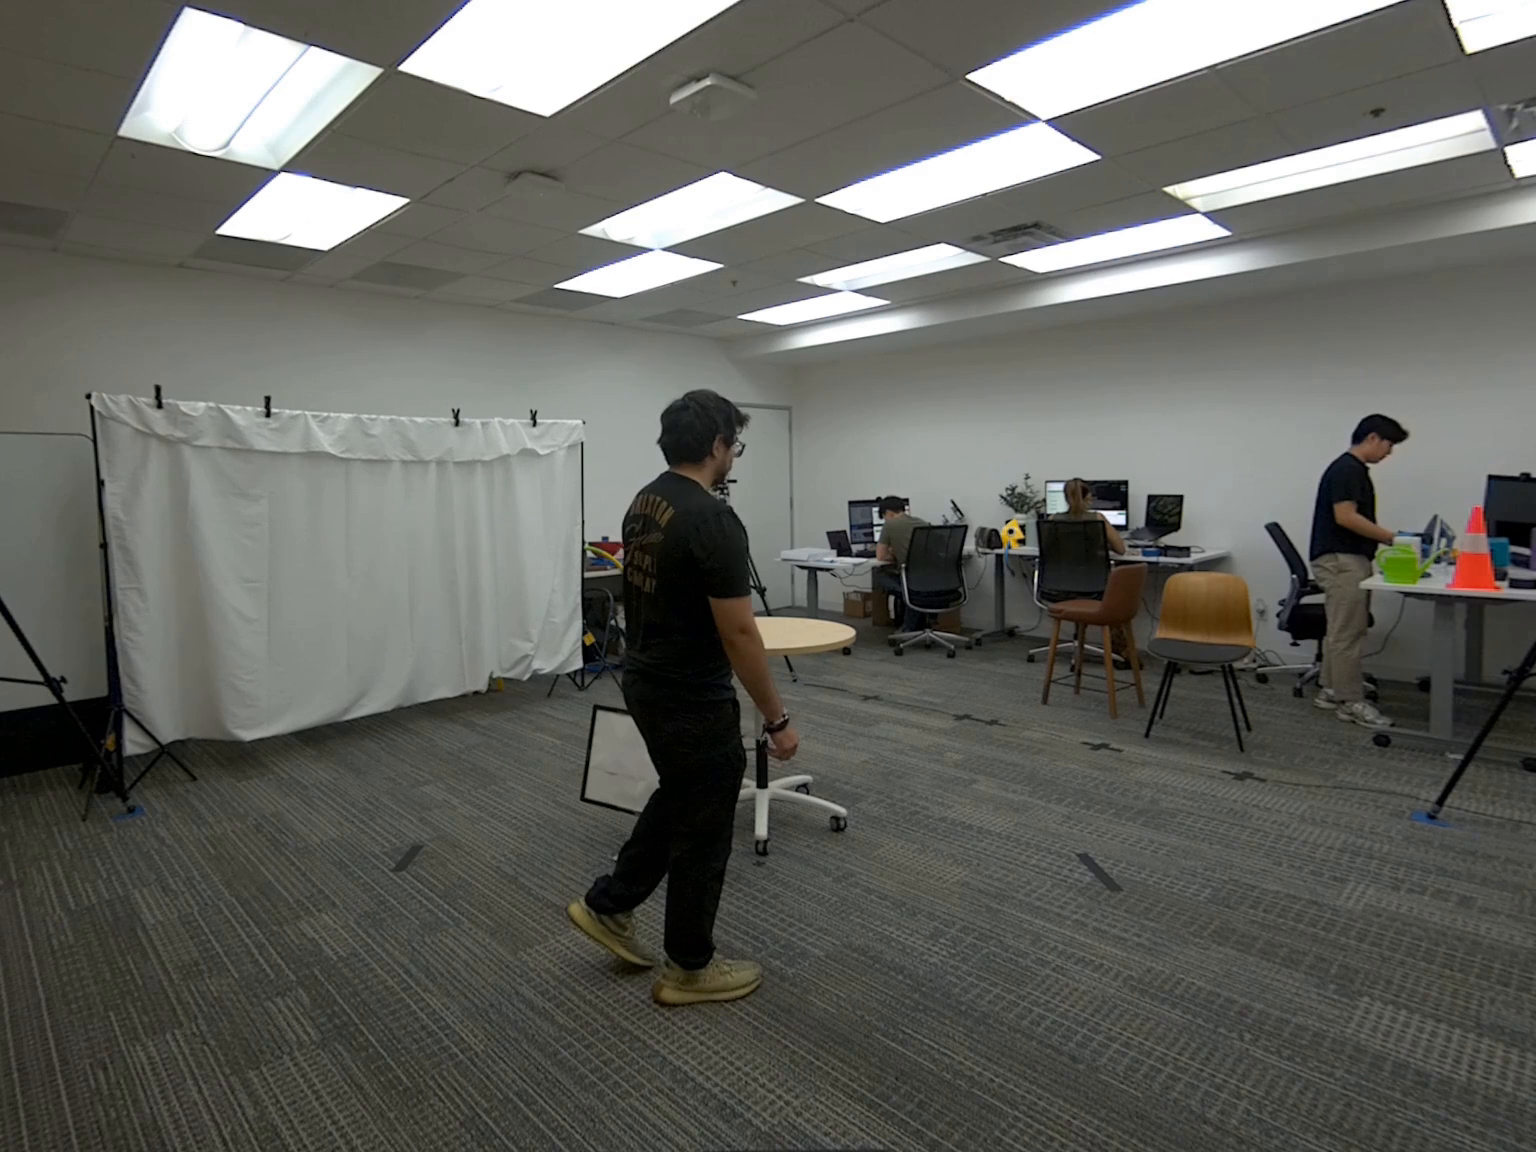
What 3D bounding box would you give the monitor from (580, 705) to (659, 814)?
[{"bbox_3d":[-0.409,0.782,3.171,0.581,0.555,0.204,3,-2,32],"label":"monitor"}]
